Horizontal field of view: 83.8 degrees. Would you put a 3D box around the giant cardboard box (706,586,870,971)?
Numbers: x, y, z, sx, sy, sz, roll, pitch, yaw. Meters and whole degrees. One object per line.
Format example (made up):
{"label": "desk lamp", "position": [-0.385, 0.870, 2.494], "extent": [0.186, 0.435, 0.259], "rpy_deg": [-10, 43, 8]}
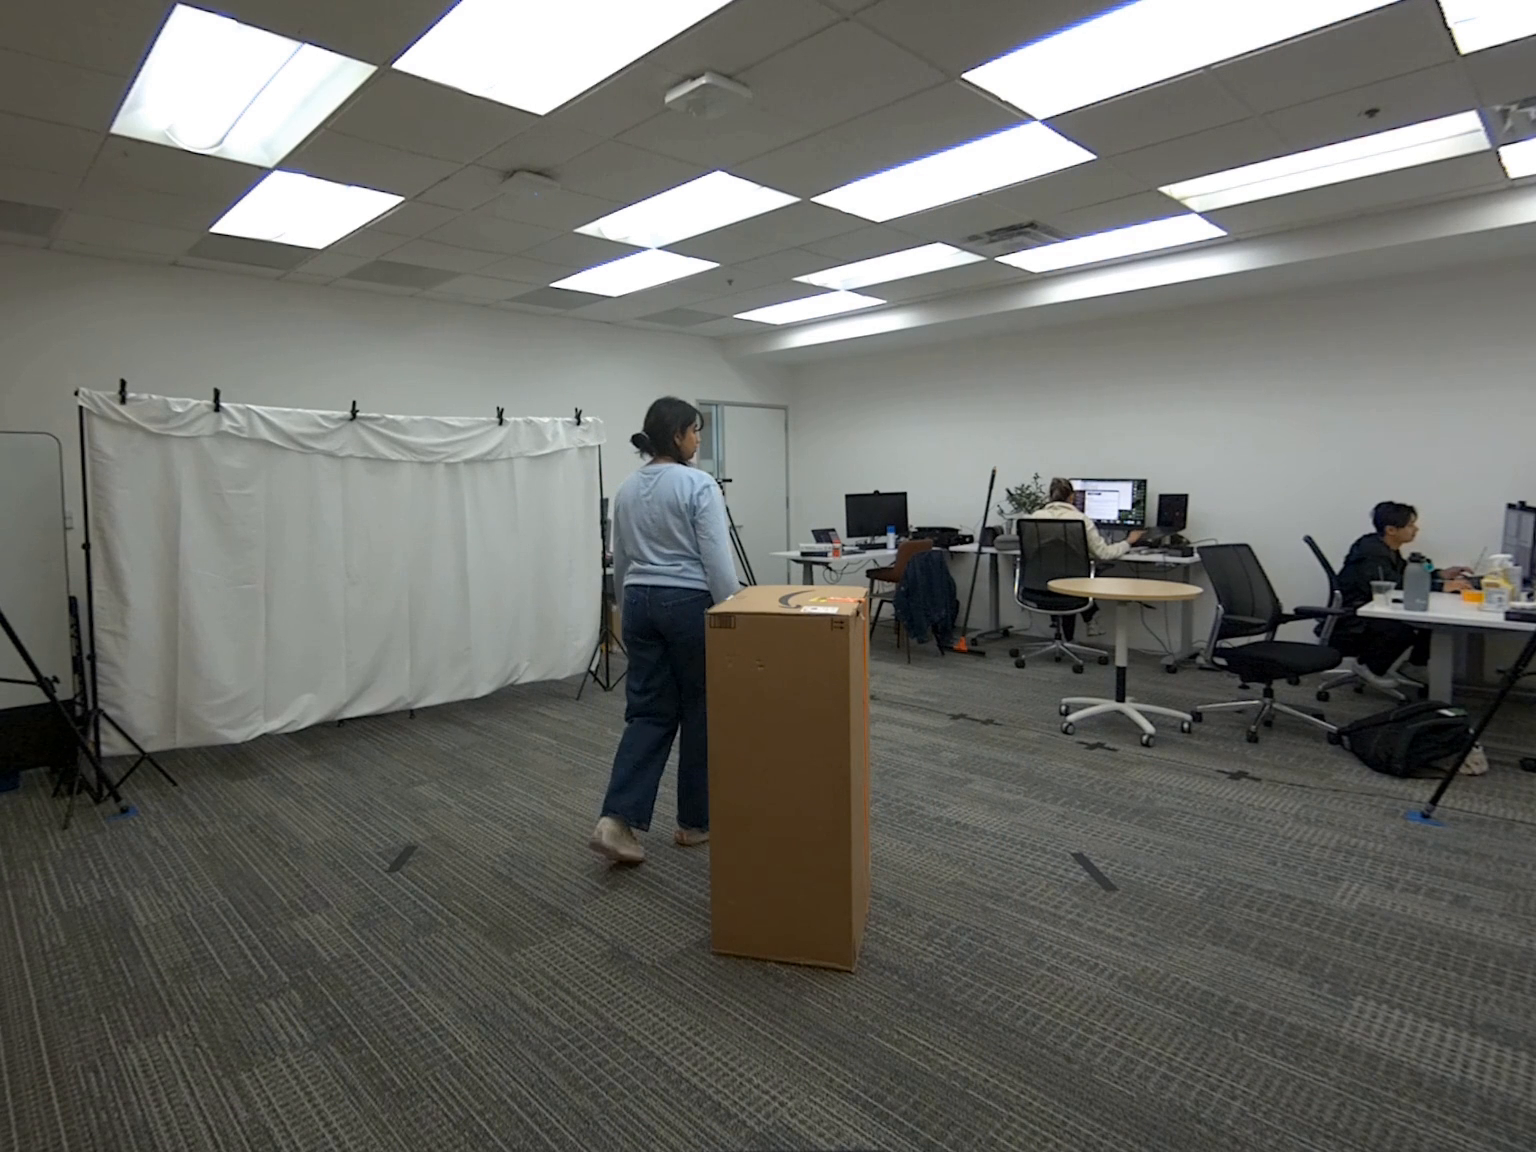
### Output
{"label": "giant cardboard box", "position": [0.092, 0.578, 2.708], "extent": [0.432, 1.022, 0.572], "rpy_deg": [0, 4, 13]}
